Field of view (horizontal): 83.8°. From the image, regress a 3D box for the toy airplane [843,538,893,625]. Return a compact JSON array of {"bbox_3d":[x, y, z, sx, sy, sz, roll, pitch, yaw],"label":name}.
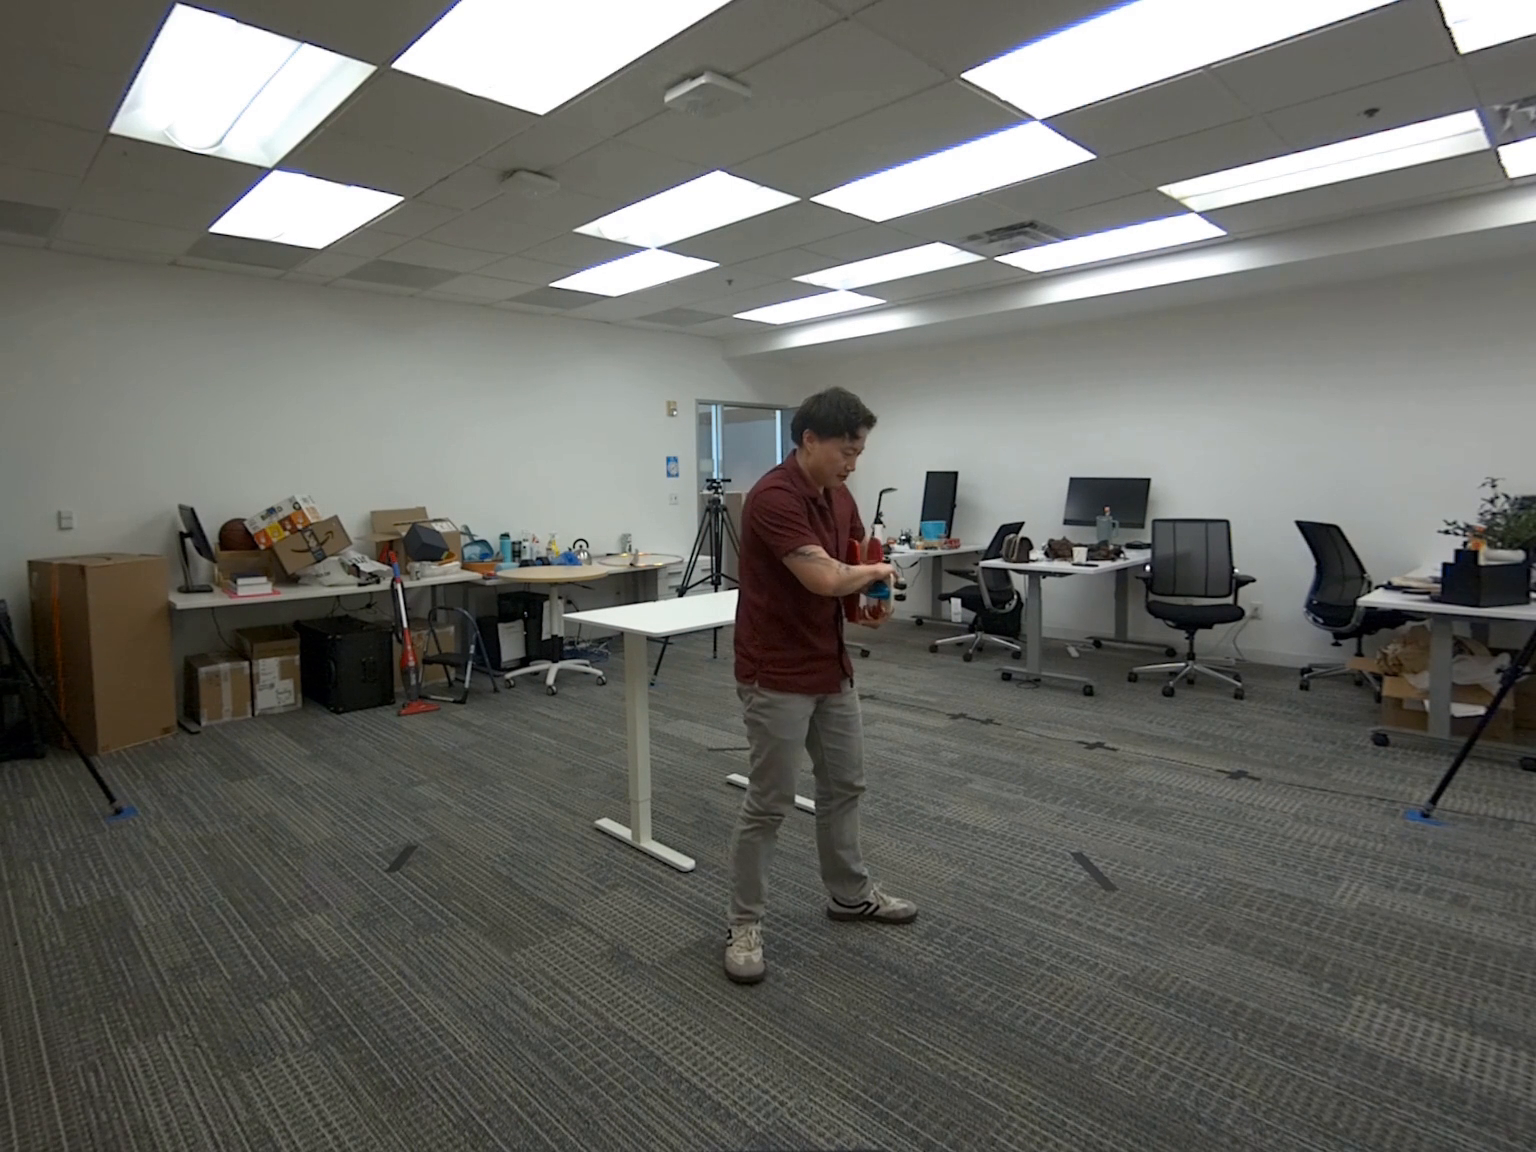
[{"bbox_3d":[0.314,0.004,2.558,0.156,0.254,0.256,-5,-13,-2],"label":"toy airplane"}]
